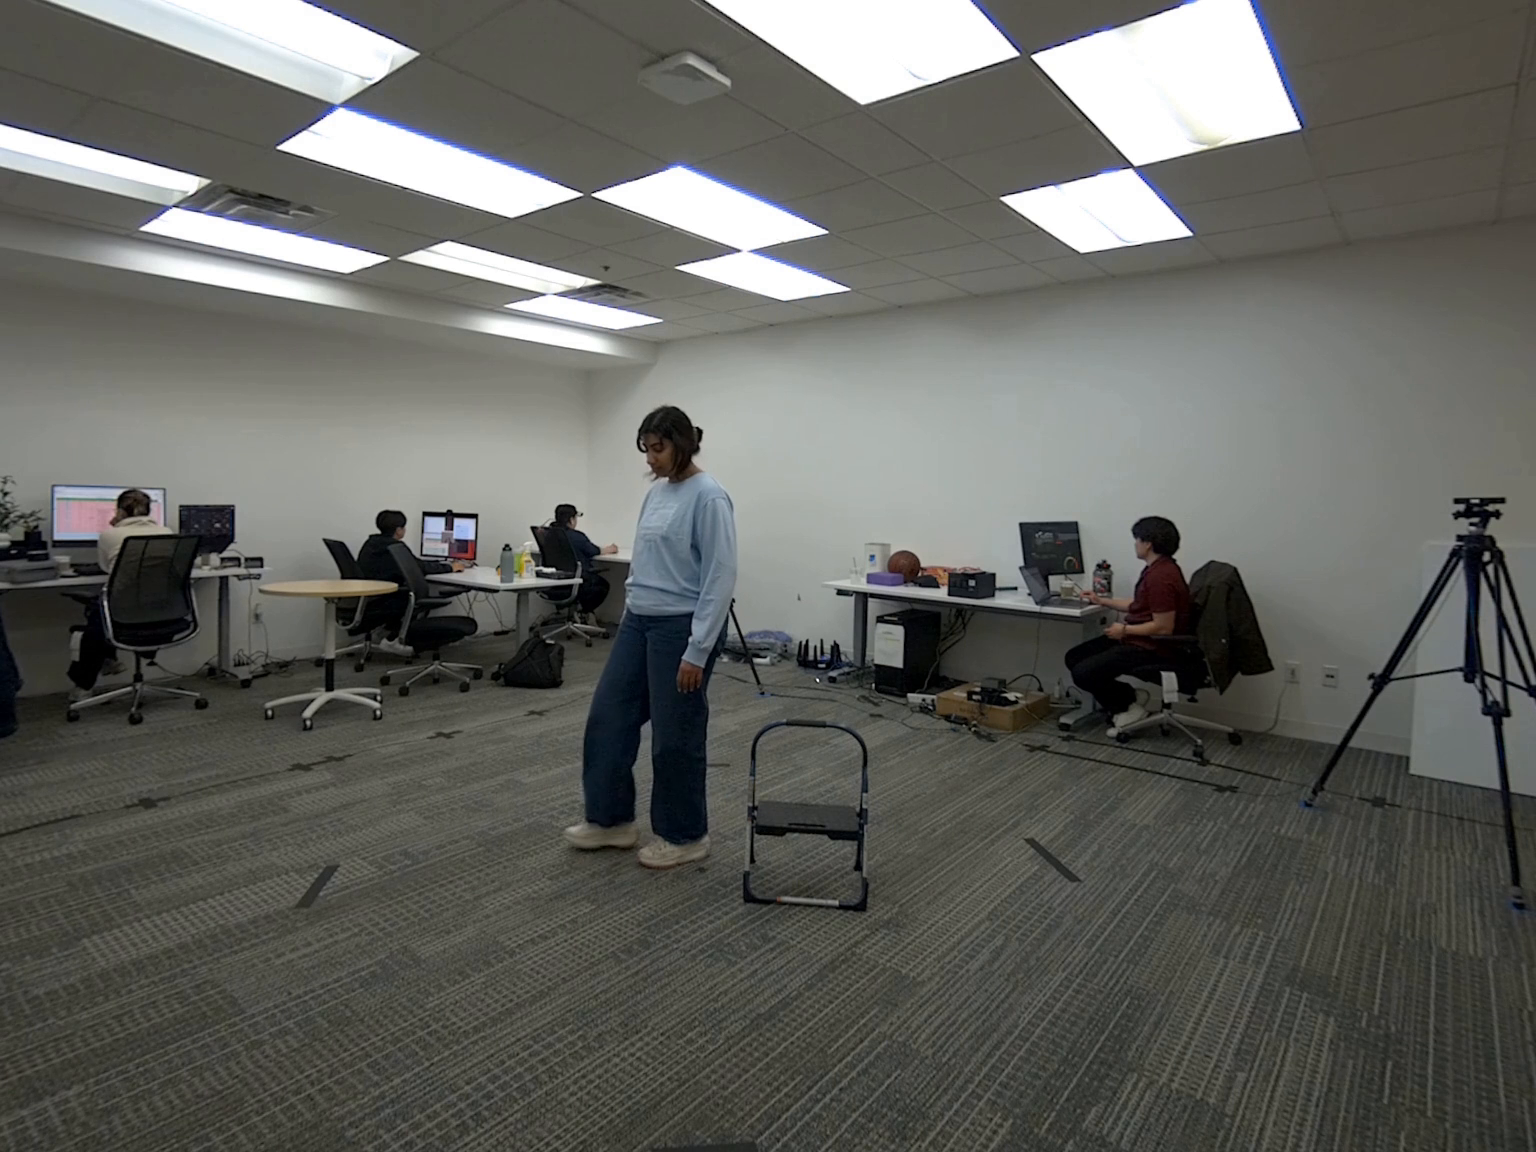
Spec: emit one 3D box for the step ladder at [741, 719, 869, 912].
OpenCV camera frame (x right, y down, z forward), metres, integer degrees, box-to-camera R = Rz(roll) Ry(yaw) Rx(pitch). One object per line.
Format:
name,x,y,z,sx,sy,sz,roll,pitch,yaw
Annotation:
step ladder,0.132,0.784,2.989,0.433,0.604,0.348,2,3,4
